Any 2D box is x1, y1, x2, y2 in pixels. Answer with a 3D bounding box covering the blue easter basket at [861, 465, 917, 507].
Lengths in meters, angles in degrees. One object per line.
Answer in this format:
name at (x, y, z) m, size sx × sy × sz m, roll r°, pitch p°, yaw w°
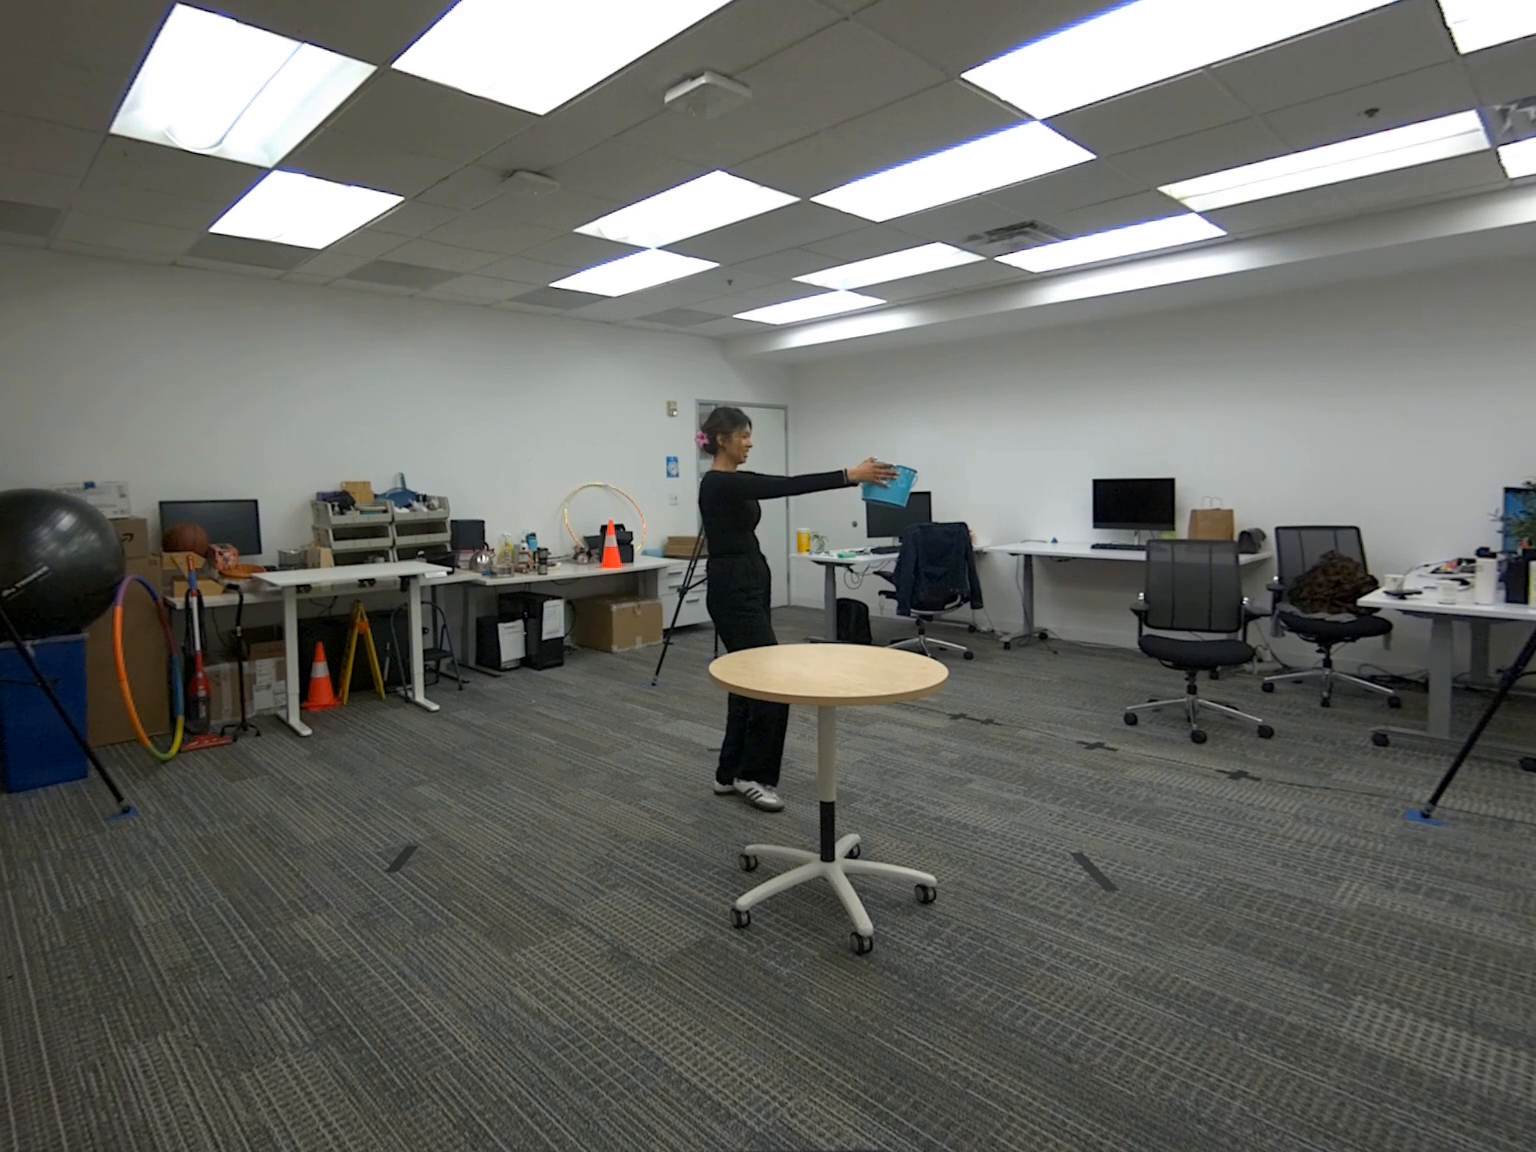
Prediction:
blue easter basket at (0.493, -0.374, 3.552) m, size 0.243 × 0.156 × 0.243 m, roll 10°, pitch -1°, yaw -1°
